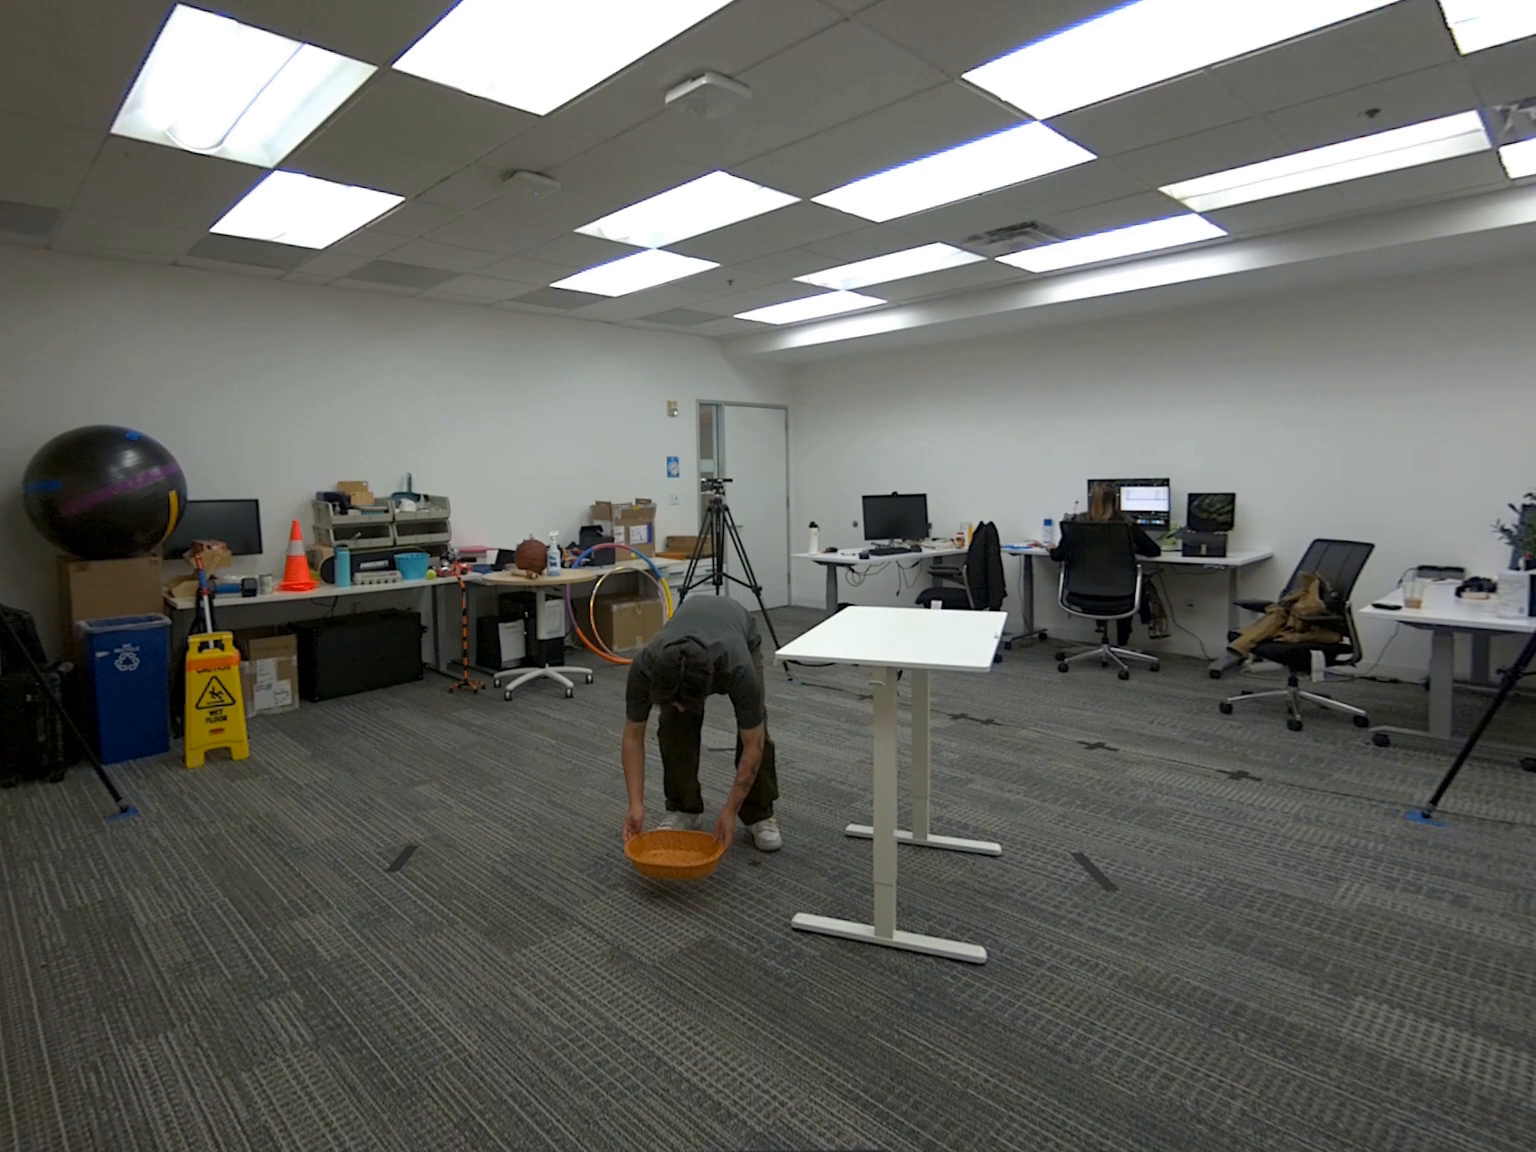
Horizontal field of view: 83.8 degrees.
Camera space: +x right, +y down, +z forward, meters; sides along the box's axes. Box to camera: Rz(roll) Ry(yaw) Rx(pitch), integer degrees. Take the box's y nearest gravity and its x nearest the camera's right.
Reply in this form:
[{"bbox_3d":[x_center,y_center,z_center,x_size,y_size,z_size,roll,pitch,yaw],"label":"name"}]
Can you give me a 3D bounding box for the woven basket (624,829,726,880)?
[{"bbox_3d":[-0.314,0.950,2.908,0.356,0.073,0.251,0,11,15],"label":"woven basket"}]
